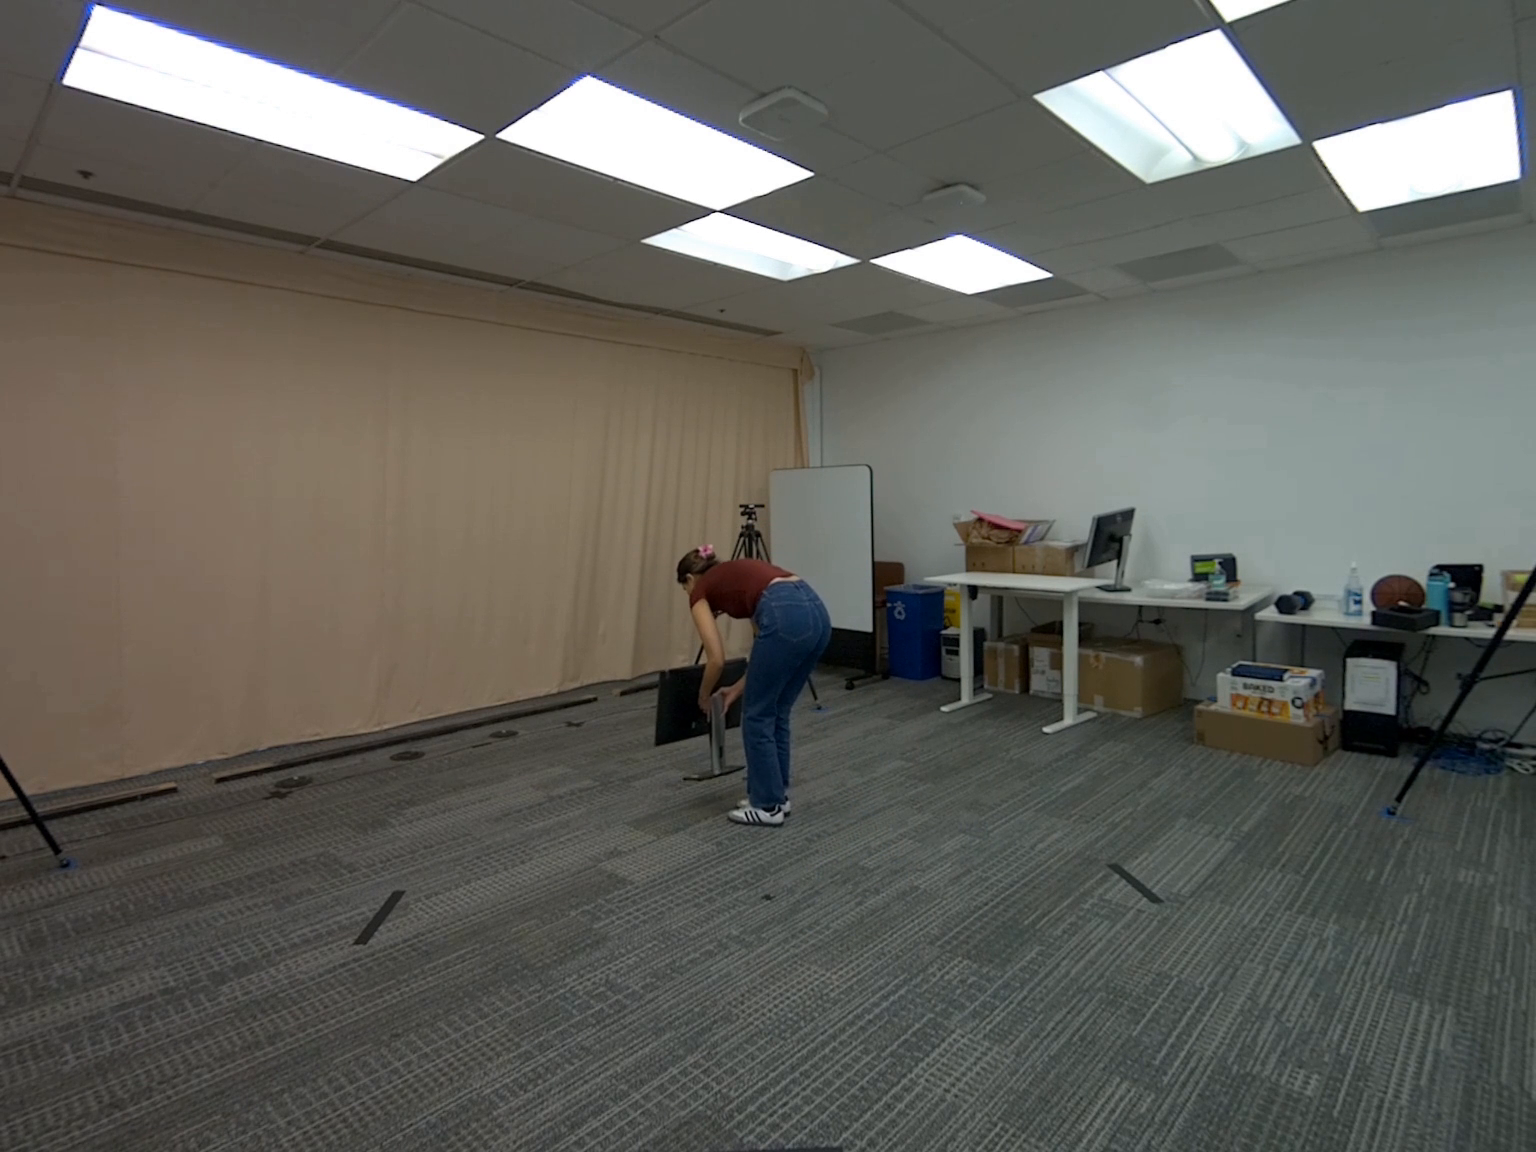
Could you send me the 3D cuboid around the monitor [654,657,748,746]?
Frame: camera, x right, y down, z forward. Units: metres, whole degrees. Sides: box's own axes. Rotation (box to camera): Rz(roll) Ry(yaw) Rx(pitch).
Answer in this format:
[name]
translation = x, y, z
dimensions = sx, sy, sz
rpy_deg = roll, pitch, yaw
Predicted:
[monitor]
translation = -0.282, 0.671, 3.946
dimensions = 0.523, 0.524, 0.192
rpy_deg = -5, -3, -43
